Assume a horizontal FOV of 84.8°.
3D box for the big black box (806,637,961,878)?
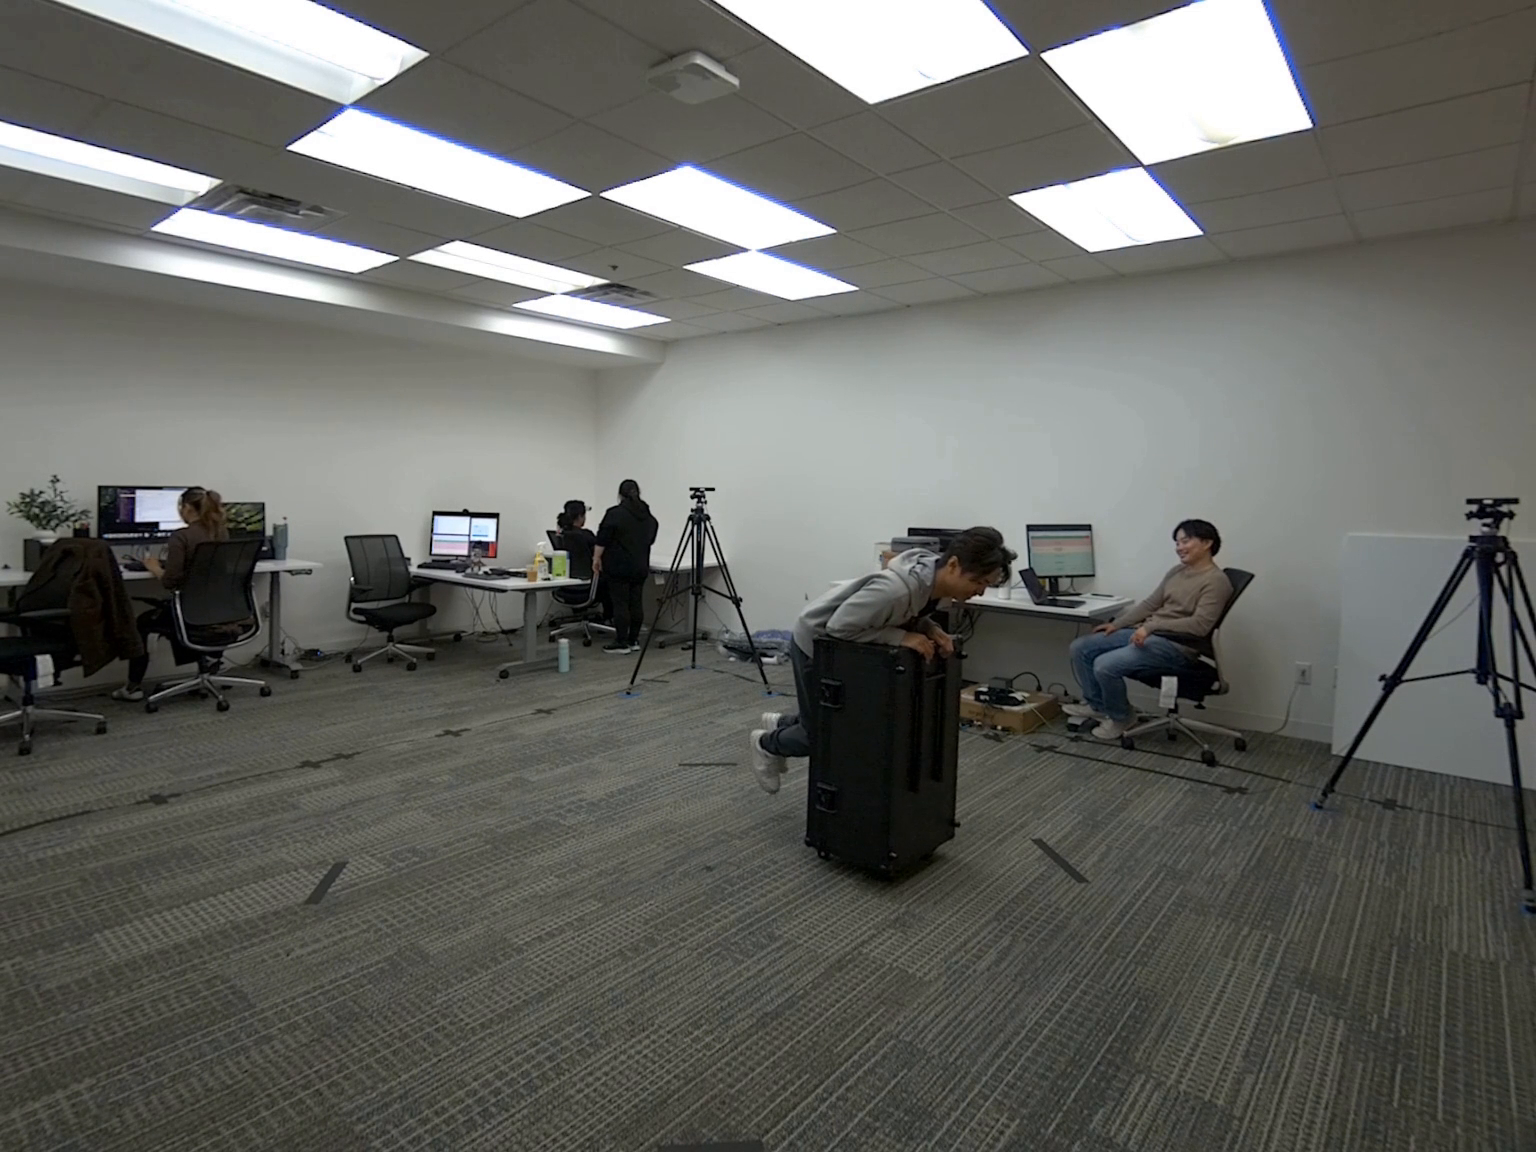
[{"bbox_3d":[0.446,0.652,3.199,0.410,0.858,0.505,6,6,41],"label":"big black box"}]
